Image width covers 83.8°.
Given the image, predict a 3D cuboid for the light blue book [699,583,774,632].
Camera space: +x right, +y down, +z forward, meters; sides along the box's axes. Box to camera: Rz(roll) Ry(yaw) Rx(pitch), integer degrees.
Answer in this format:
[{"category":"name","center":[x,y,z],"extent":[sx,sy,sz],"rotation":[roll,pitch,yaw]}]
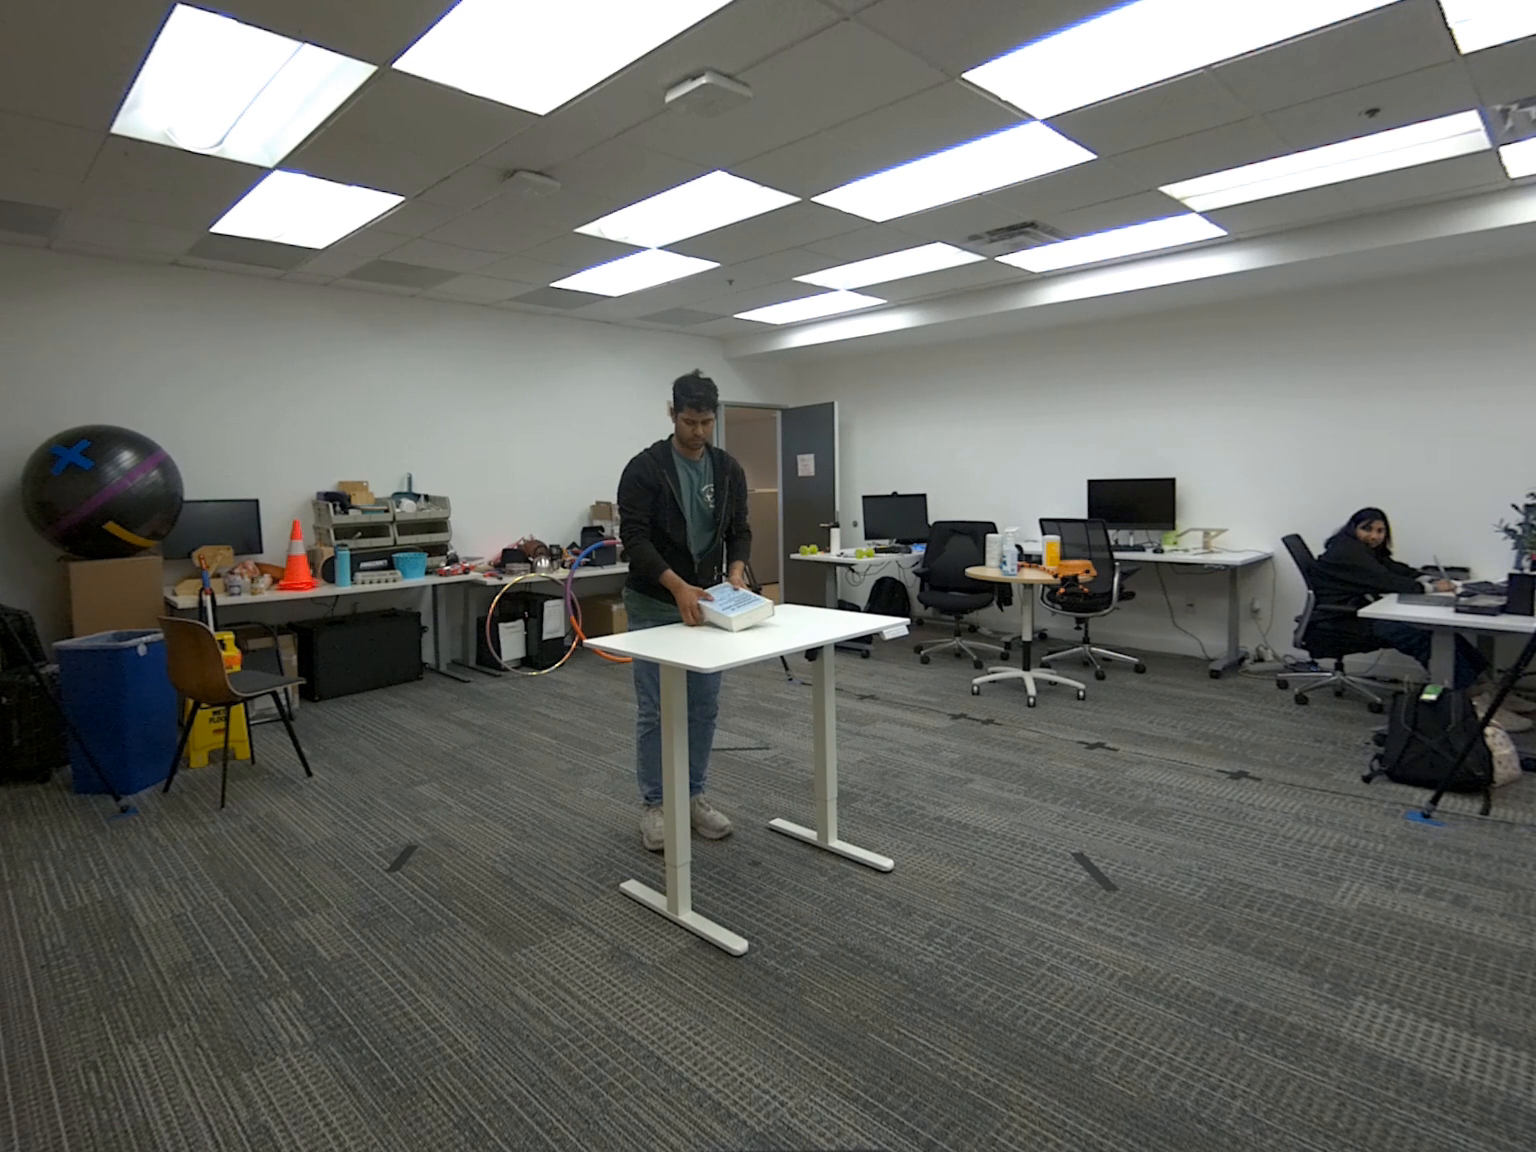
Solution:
[{"category":"light blue book","center":[-0.138,0.103,3.007],"extent":[0.188,0.058,0.270],"rotation":[-19,24,-34]}]
